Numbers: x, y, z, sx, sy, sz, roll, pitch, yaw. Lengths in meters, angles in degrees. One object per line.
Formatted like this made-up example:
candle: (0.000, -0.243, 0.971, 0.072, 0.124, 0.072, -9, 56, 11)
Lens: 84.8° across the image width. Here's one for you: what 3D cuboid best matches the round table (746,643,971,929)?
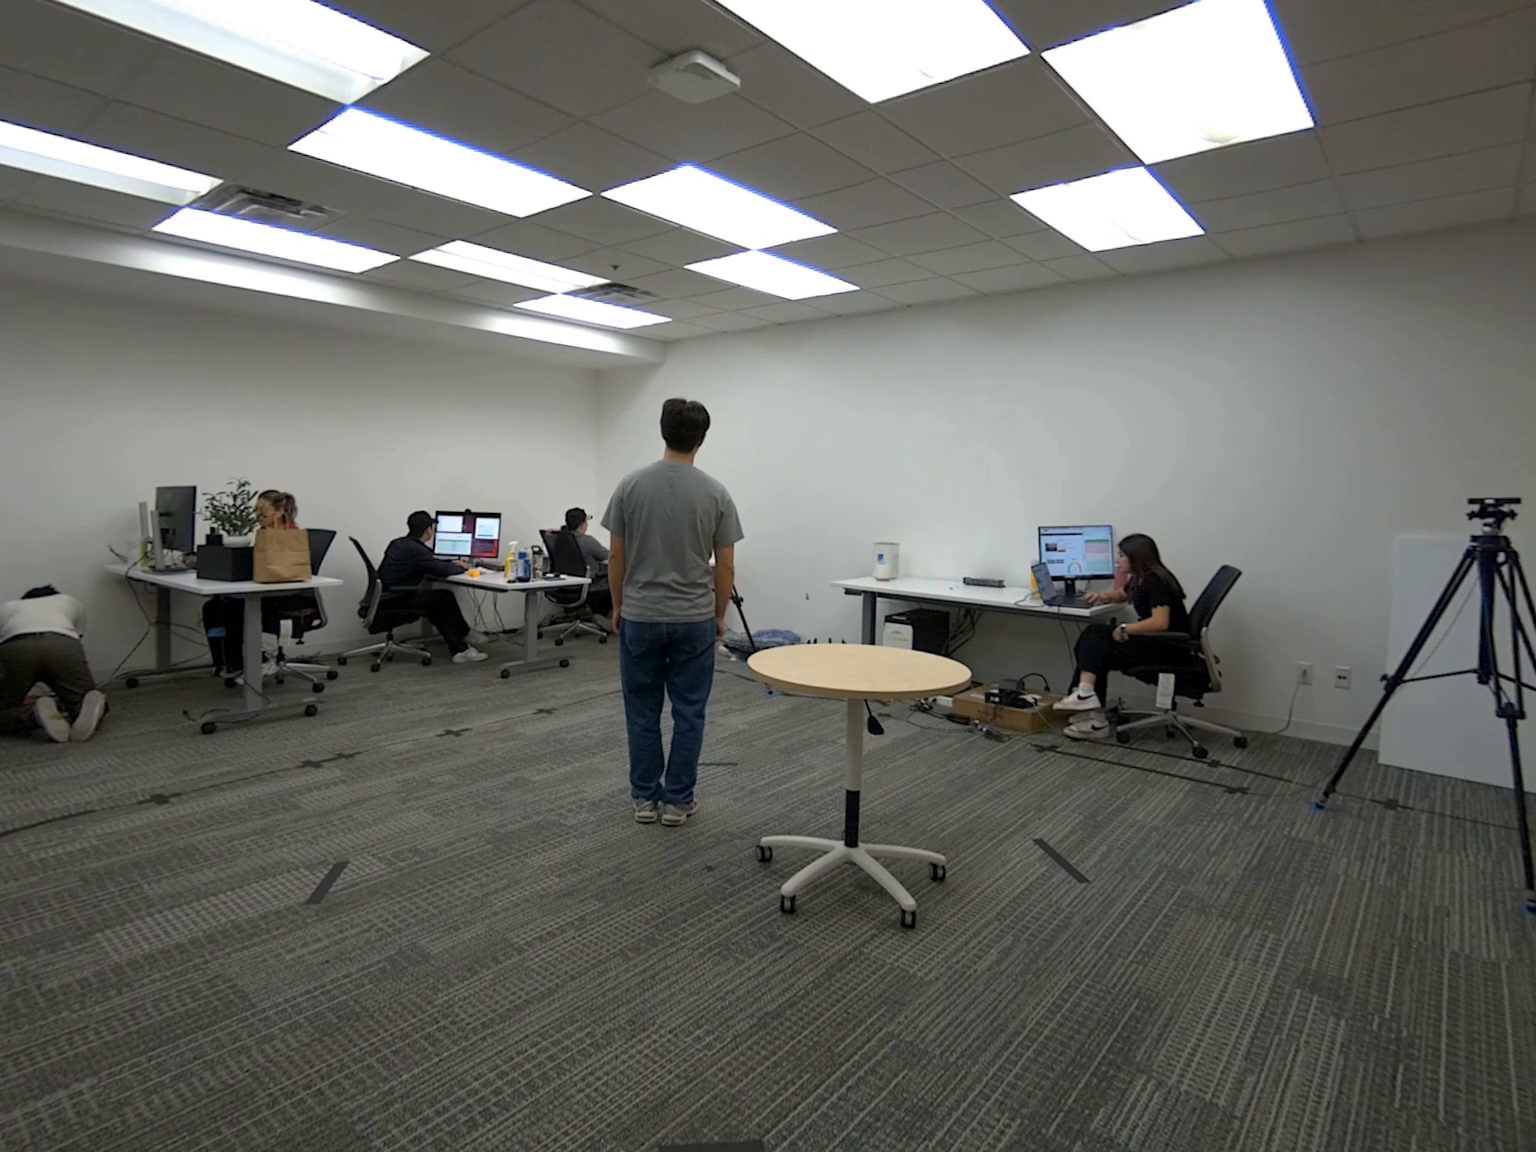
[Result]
round table: (0.290, 0.699, 2.988, 0.763, 0.791, 0.768, 2, 5, -2)
